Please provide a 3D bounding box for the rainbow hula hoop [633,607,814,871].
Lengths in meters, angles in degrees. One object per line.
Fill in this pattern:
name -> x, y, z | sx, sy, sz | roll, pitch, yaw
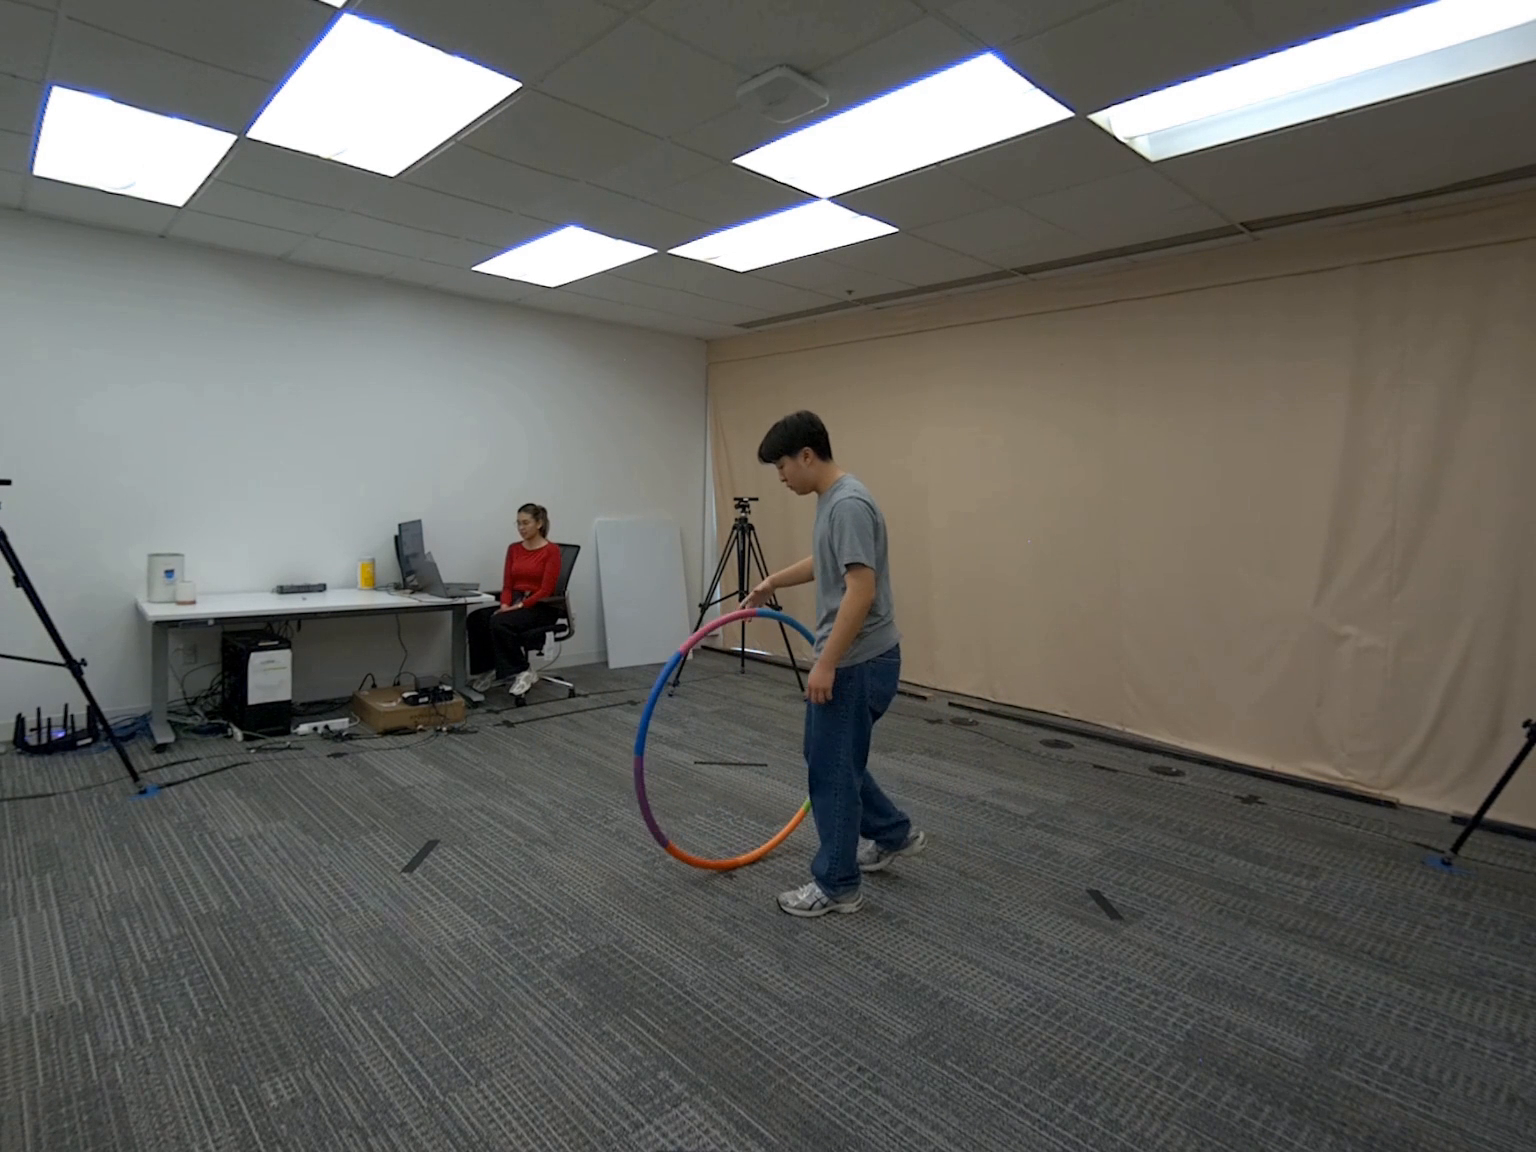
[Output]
rainbow hula hoop -> -0.094, 0.608, 3.159 | 0.956, 0.975, 0.036 | -2, 7, -41
